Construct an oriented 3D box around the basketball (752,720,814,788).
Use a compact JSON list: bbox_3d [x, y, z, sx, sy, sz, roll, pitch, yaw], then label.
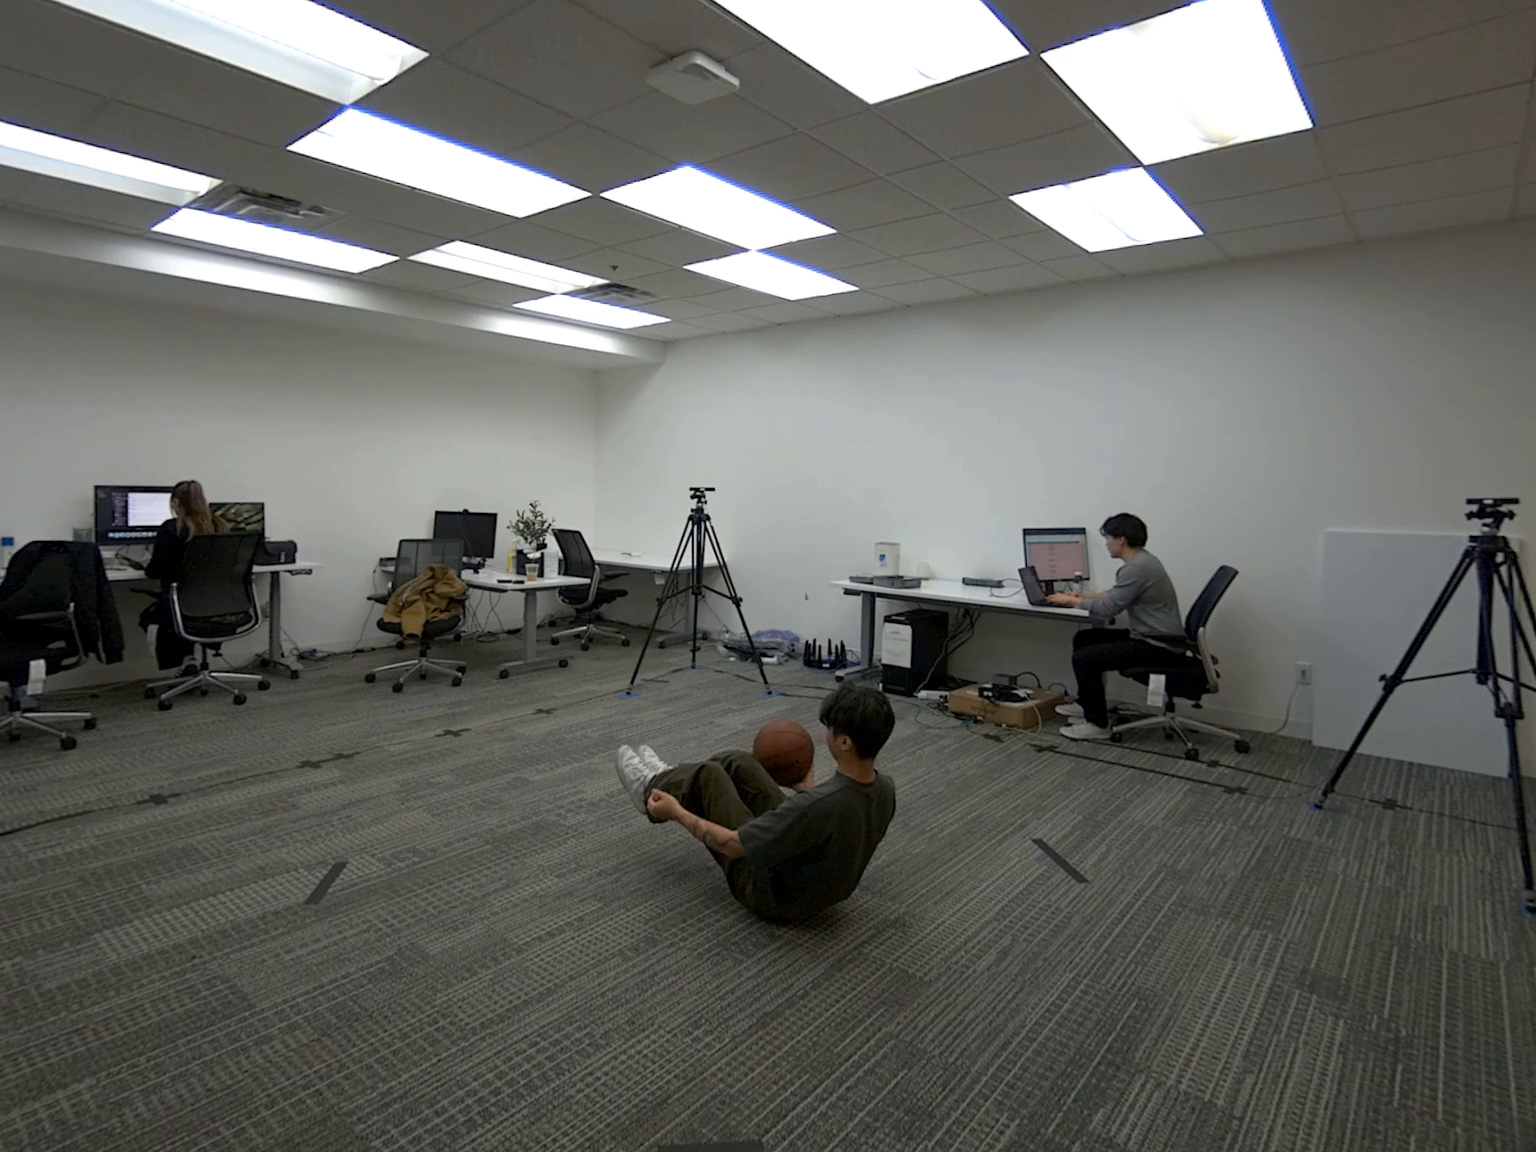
[{"bbox_3d":[0.040,0.671,3.281,0.235,0.235,0.237,1,4,-2],"label":"basketball"}]
